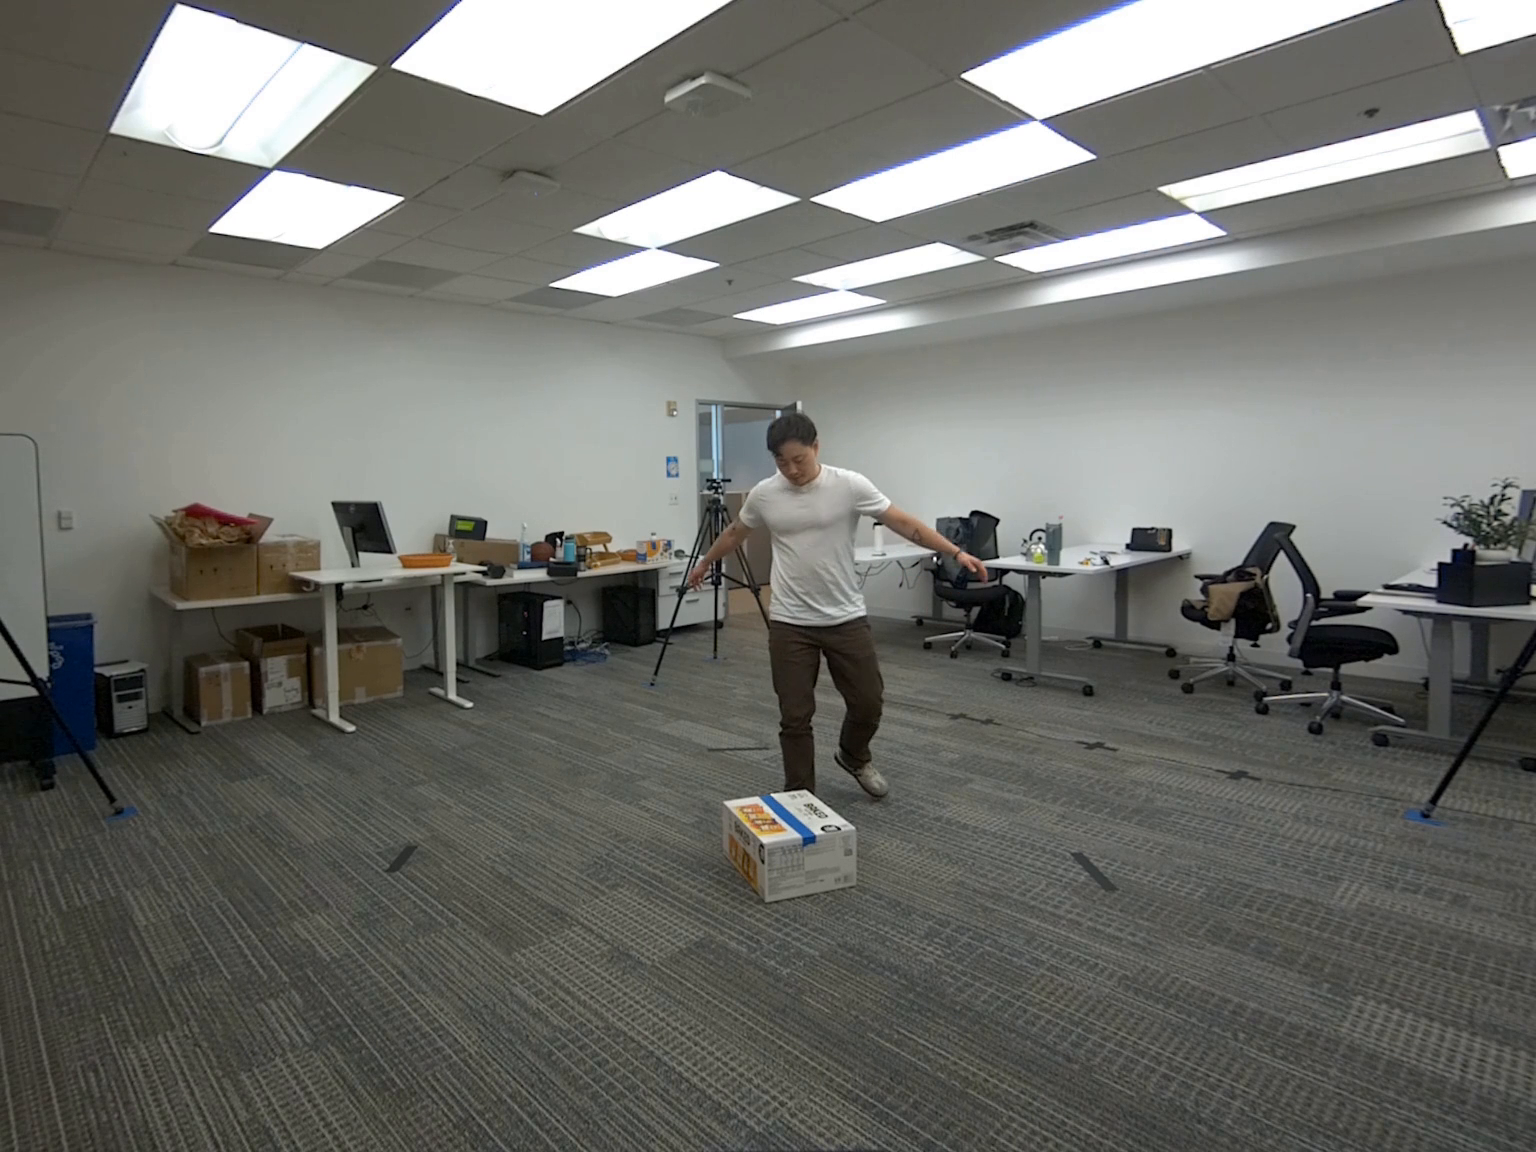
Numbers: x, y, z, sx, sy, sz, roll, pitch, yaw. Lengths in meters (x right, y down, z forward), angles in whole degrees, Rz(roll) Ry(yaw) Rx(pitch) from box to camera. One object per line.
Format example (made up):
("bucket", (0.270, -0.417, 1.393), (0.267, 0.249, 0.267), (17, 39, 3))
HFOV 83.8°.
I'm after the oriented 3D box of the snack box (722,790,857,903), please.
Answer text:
("snack box", (0.069, 0.950, 3.041), (0.334, 0.205, 0.414), (-3, 6, -21))
